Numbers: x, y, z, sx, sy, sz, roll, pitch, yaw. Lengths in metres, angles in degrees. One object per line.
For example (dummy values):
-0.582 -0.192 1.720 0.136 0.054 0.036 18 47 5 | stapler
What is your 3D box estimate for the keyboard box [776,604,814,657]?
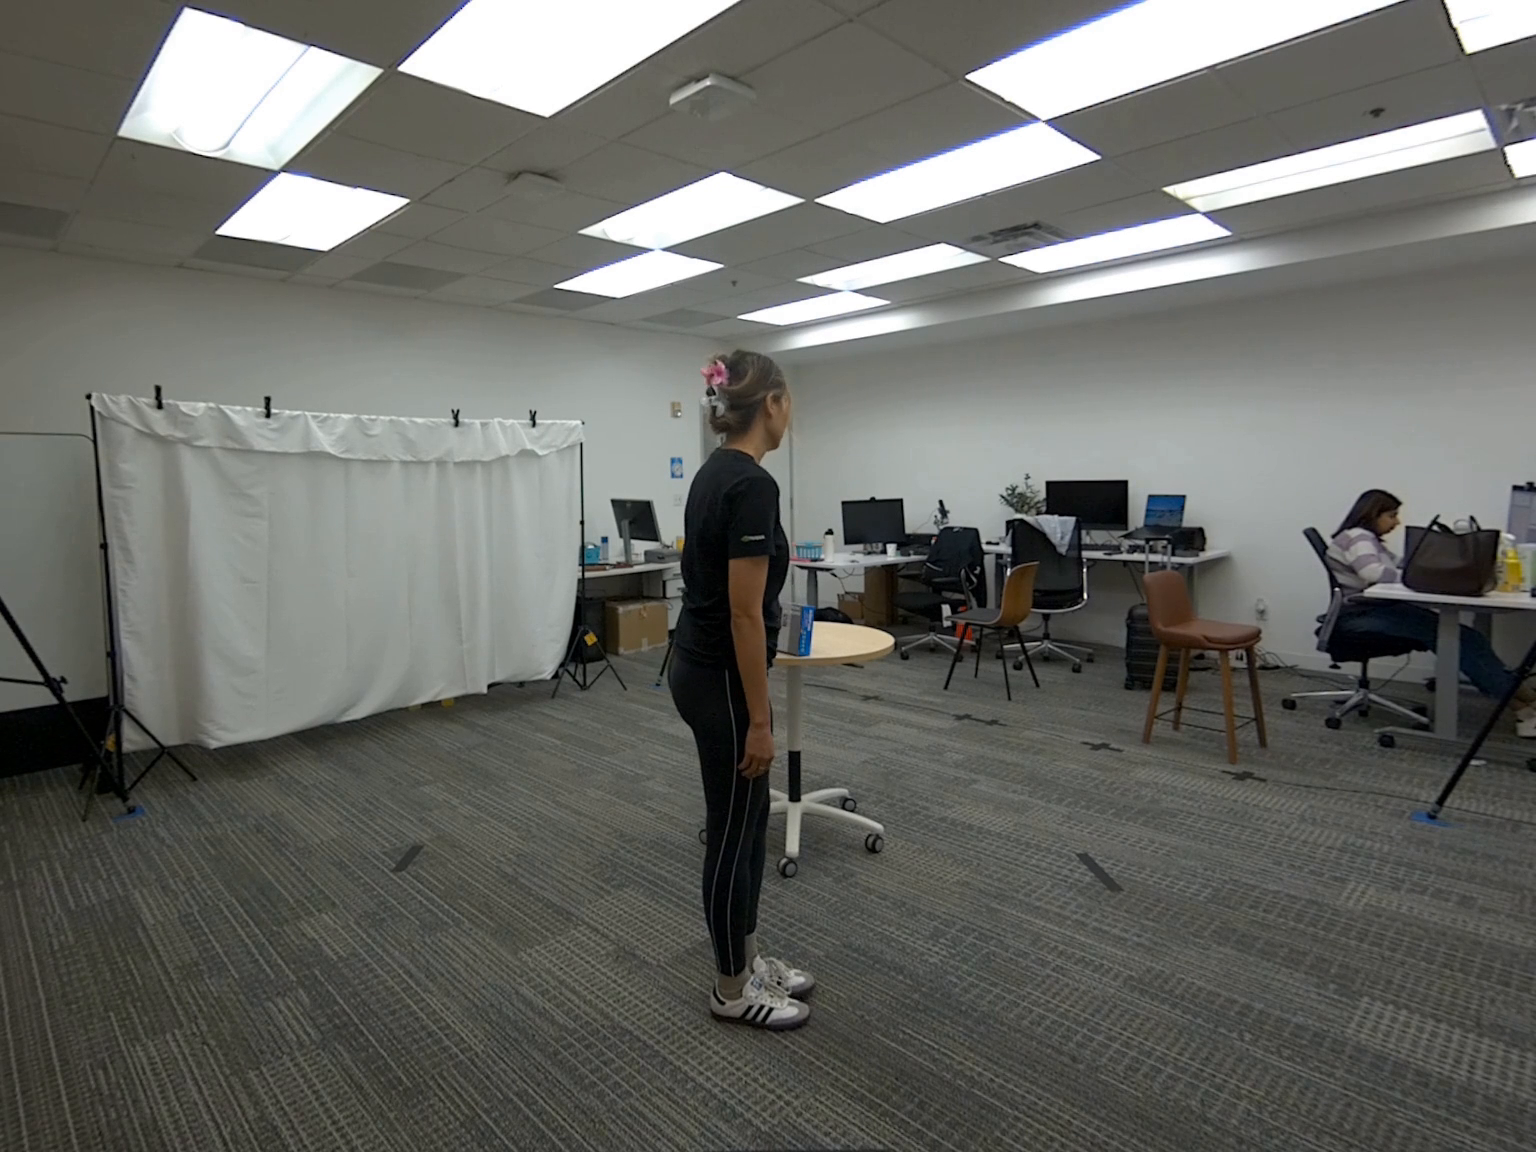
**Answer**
-0.001 0.173 3.127 0.057 0.176 0.450 6 1 -39 | keyboard box
